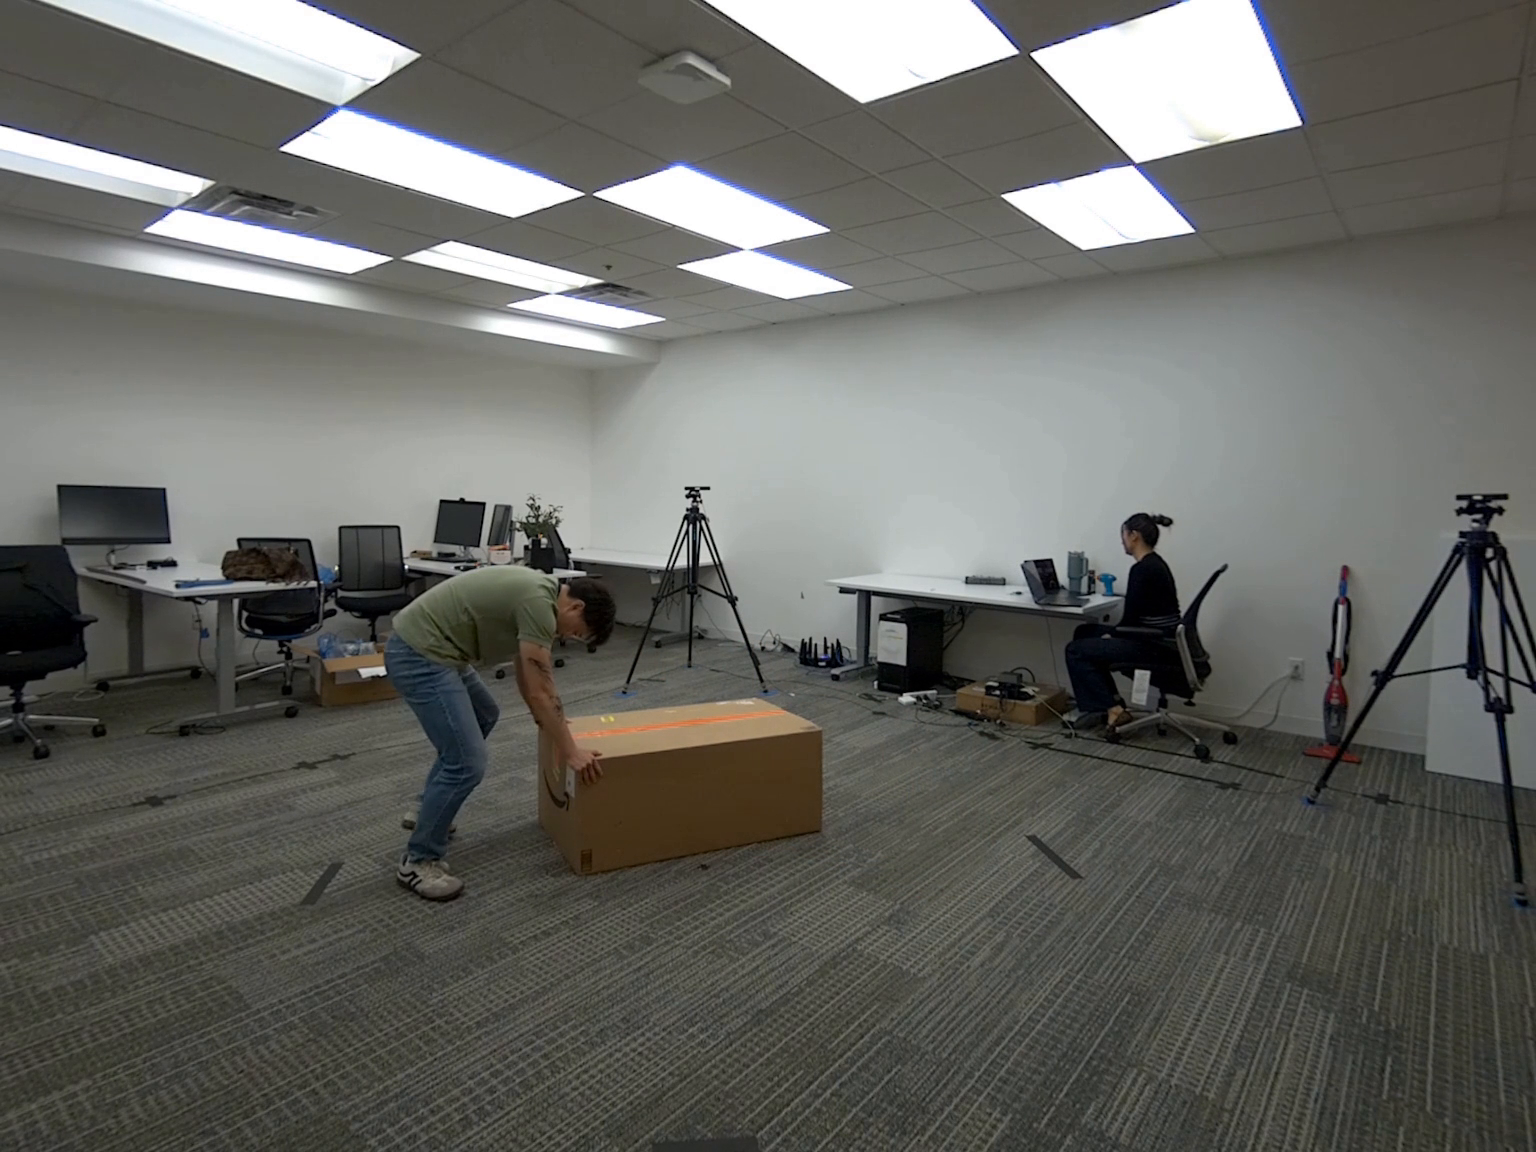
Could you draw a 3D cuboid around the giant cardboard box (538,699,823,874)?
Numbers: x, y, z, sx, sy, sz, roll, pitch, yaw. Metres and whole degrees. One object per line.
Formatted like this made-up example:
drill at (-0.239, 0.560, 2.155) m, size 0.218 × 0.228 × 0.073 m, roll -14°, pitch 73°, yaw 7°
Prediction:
giant cardboard box at (-0.371, 0.813, 3.481) m, size 1.001 × 0.425 × 0.594 m, roll -3°, pitch 5°, yaw -27°
